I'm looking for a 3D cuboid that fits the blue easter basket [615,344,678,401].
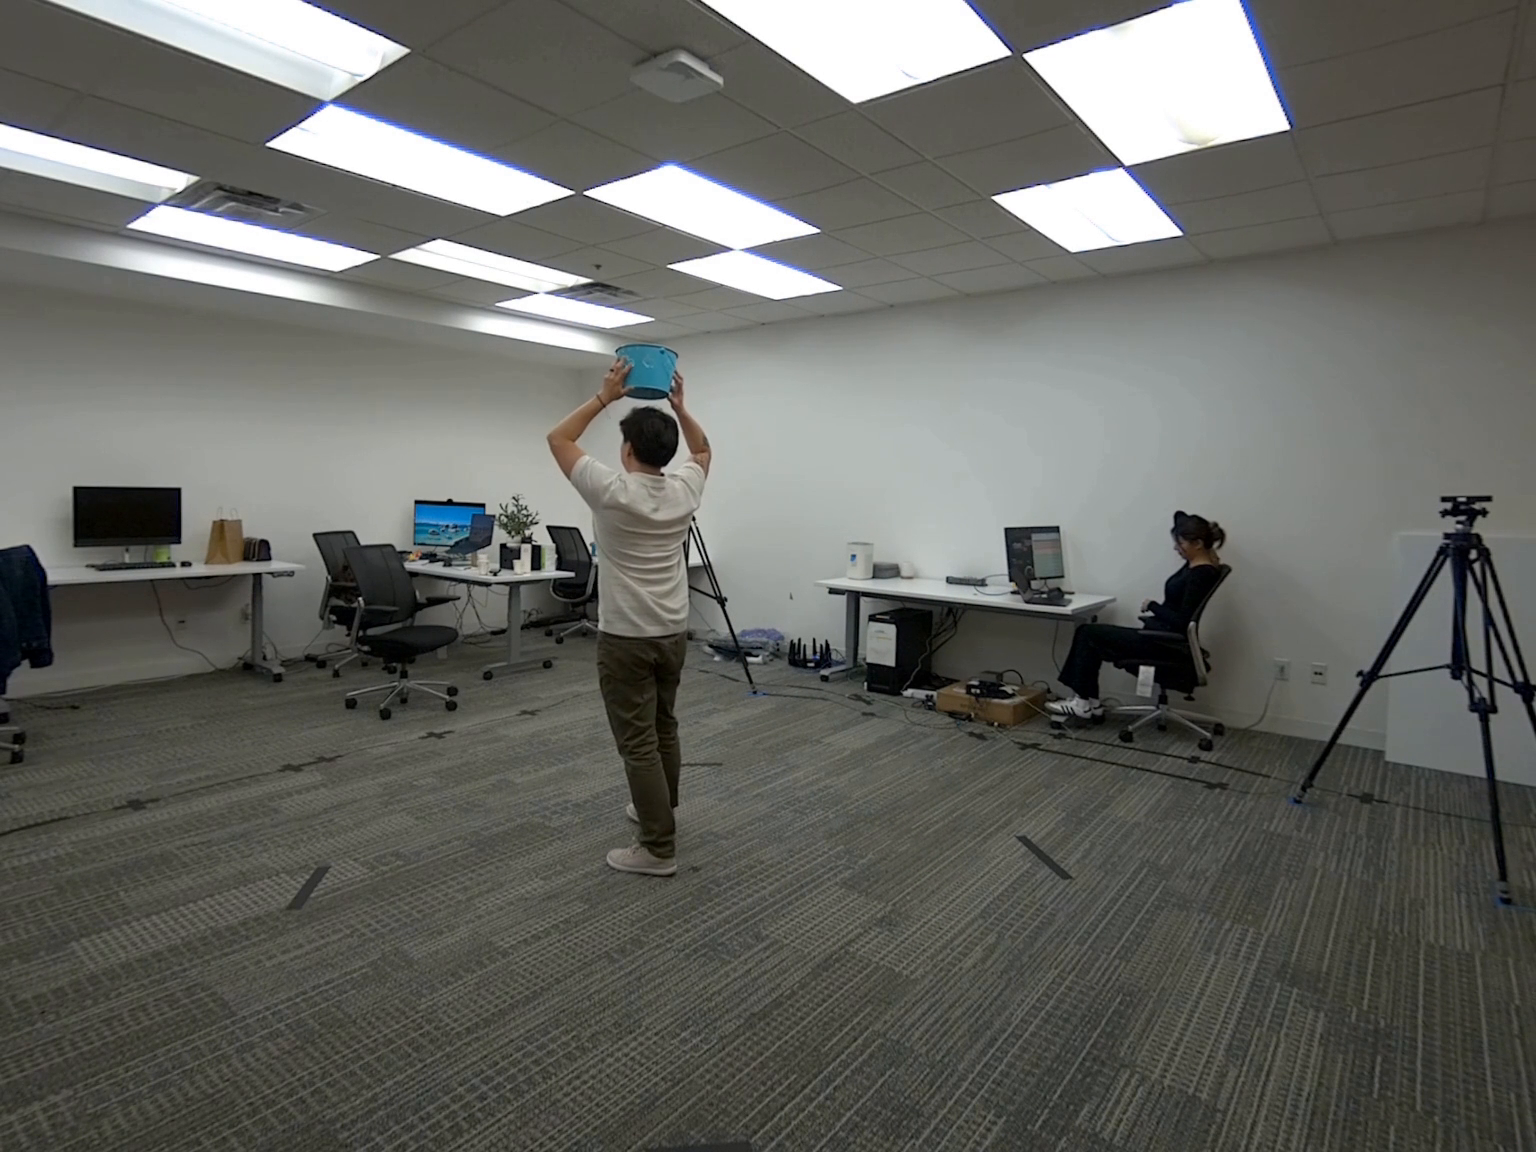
[{"bbox_3d":[-0.453,-0.757,3.144,0.243,0.157,0.243,2,-4,-2],"label":"blue easter basket"}]
